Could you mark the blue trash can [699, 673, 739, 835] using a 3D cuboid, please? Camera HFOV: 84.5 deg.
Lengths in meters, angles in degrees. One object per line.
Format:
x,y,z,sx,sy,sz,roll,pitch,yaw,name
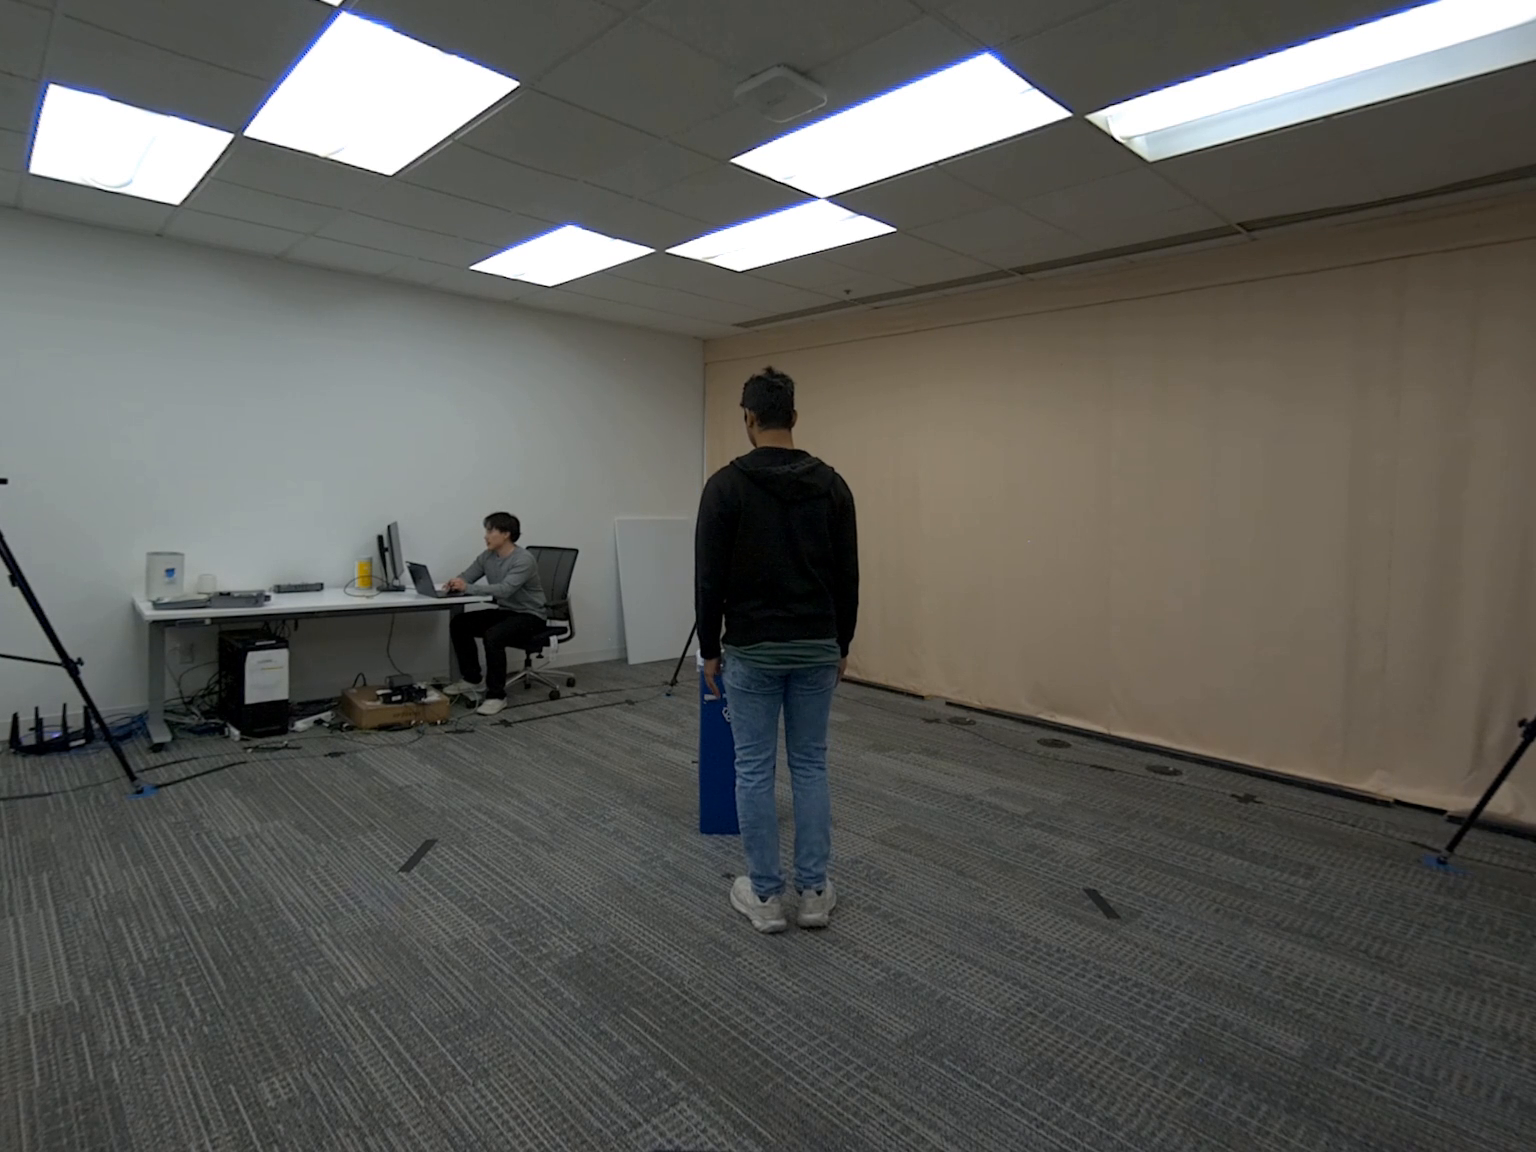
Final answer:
-0.134,0.707,3.621,0.377,0.712,0.376,2,3,-5,blue trash can
